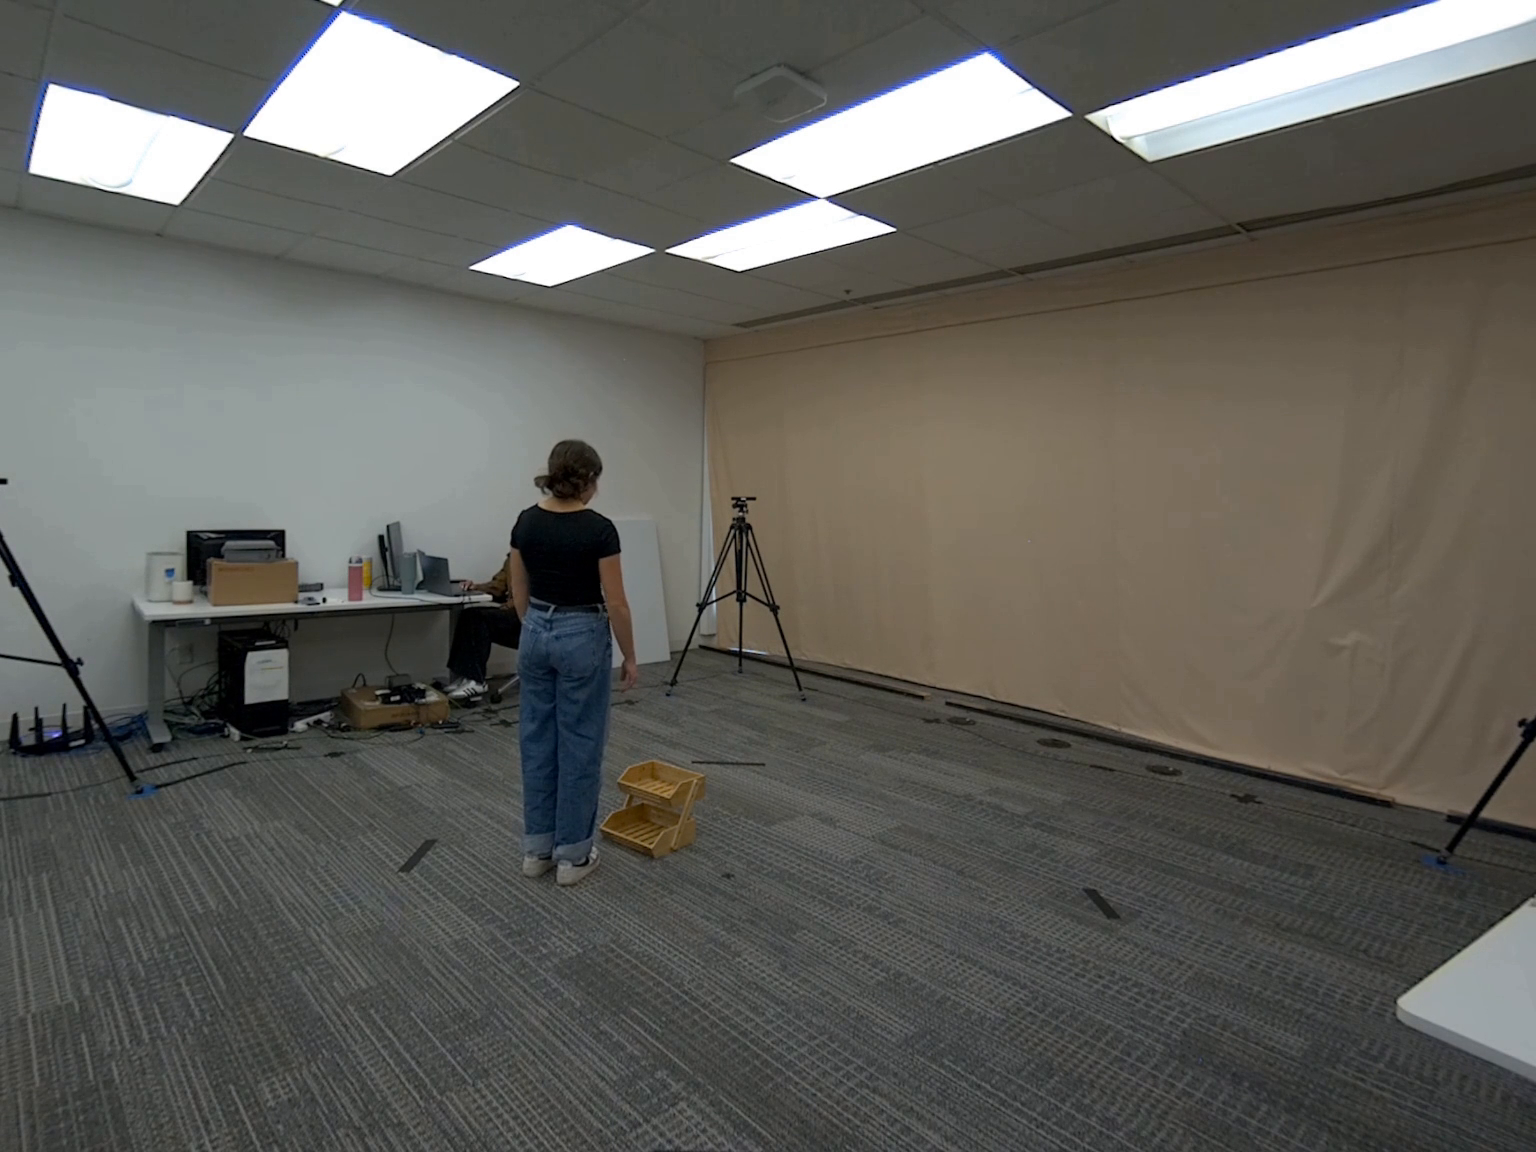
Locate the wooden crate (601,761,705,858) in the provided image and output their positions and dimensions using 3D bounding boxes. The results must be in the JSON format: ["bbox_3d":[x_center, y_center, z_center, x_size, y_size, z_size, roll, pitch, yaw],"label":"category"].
[{"bbox_3d":[-0.480,0.940,3.427,0.332,0.273,0.295,5,4,38],"label":"wooden crate"}]
